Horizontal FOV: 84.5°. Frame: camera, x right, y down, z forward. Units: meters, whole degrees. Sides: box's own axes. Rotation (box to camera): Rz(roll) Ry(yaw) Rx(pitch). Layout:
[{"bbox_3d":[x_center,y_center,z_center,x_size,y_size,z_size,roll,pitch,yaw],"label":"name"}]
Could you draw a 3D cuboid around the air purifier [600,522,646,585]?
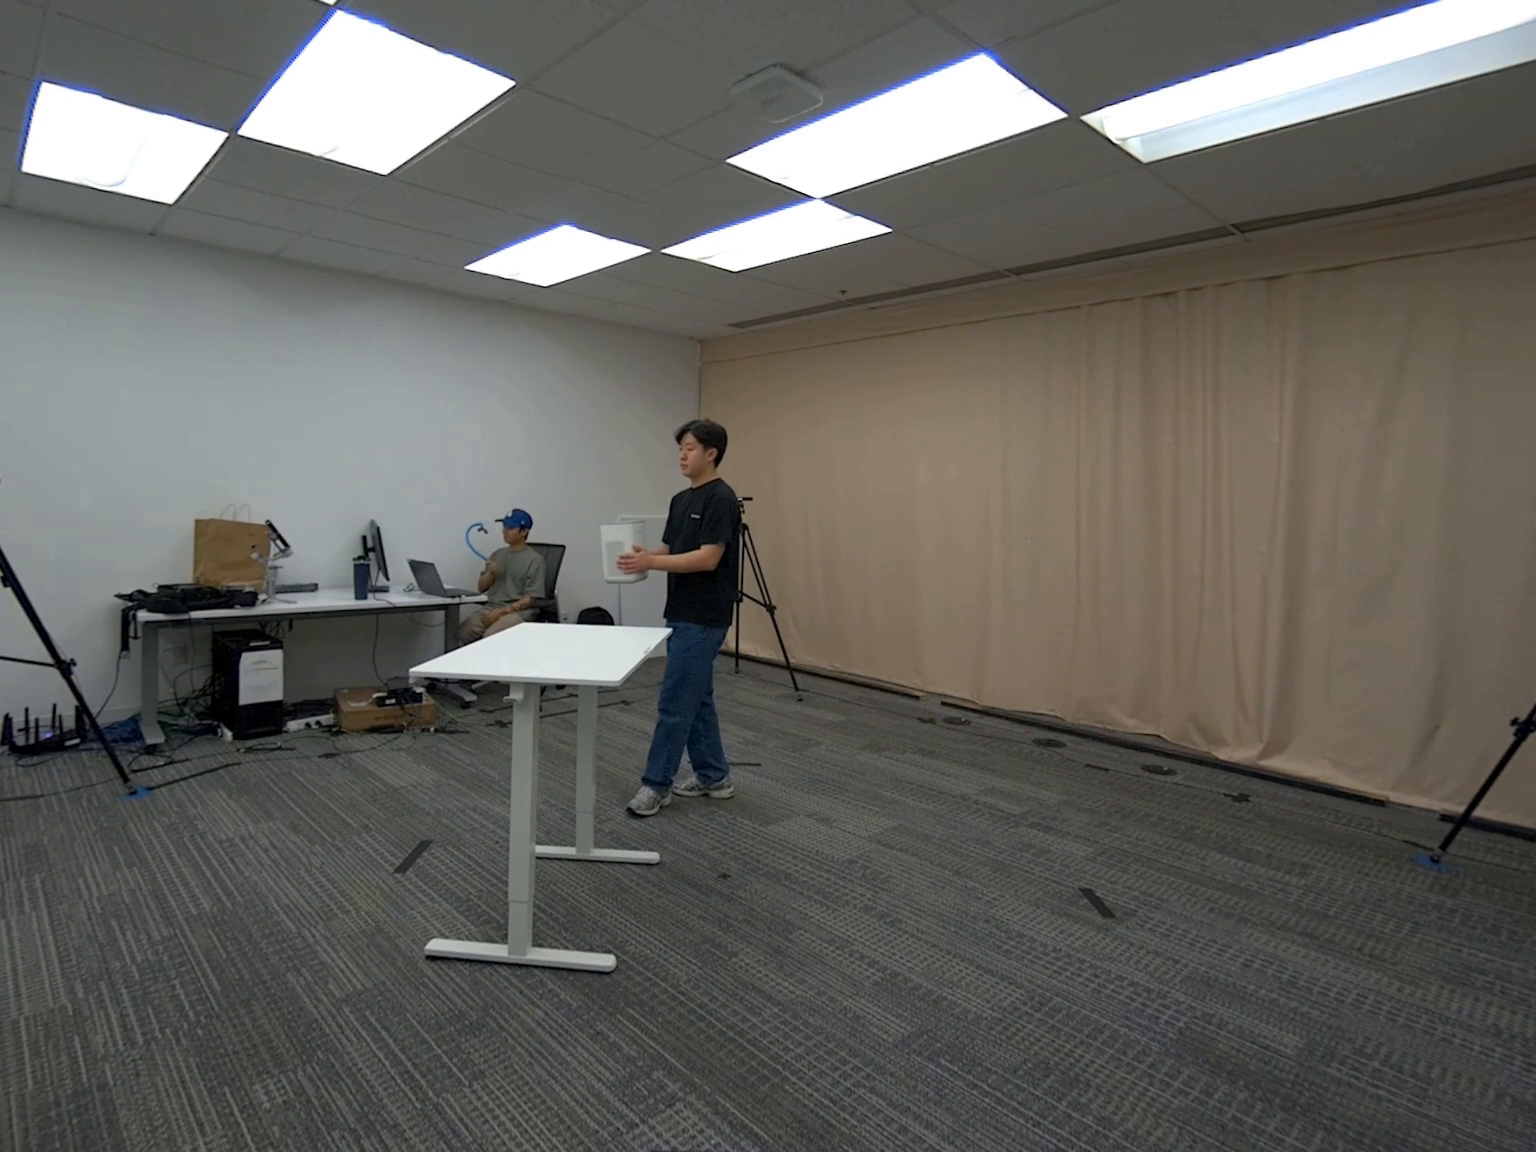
[{"bbox_3d":[-0.640,-0.104,3.694,0.173,0.263,0.171,-2,10,12],"label":"air purifier"}]
